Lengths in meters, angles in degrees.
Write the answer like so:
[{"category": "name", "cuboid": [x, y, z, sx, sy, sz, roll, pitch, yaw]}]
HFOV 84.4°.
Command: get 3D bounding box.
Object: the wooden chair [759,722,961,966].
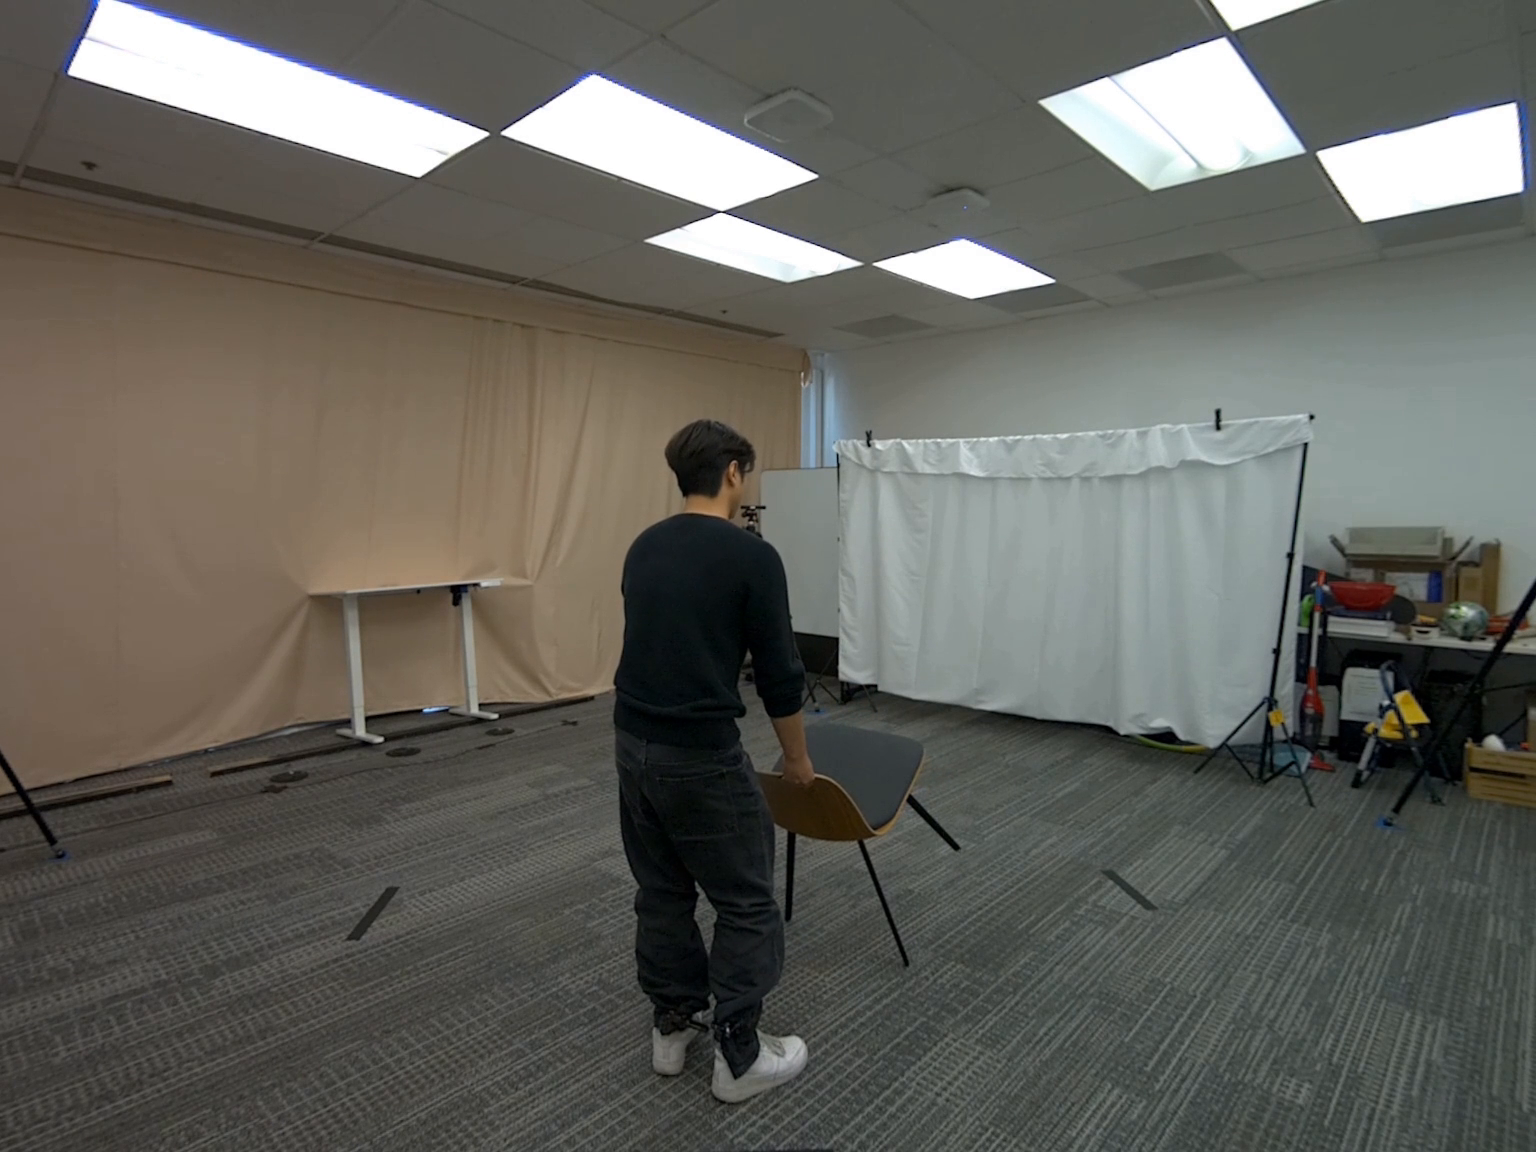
[{"category": "wooden chair", "cuboid": [0.234, 0.687, 2.636, 0.494, 0.854, 0.520, 3, 41, 38]}]
